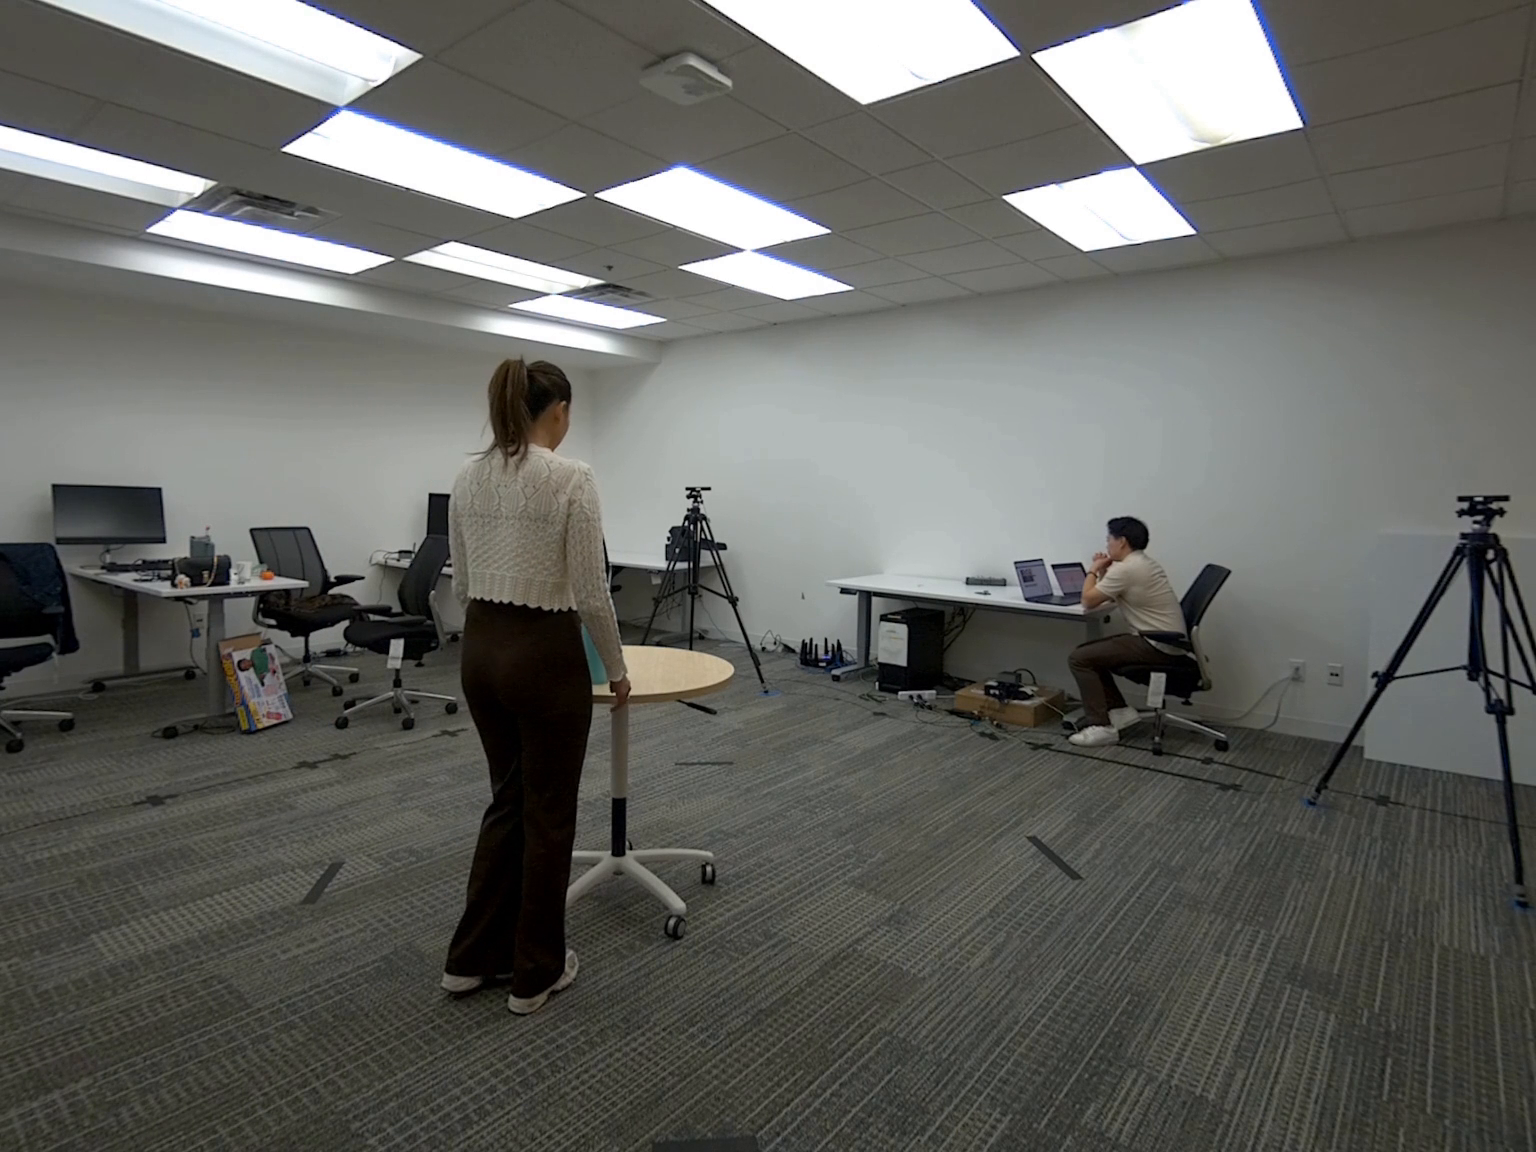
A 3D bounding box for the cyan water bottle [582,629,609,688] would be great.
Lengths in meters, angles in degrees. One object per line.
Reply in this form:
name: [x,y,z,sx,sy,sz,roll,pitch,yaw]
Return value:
cyan water bottle: [-0.542,0.190,2.624,0.092,0.282,0.093,3,5,-2]
